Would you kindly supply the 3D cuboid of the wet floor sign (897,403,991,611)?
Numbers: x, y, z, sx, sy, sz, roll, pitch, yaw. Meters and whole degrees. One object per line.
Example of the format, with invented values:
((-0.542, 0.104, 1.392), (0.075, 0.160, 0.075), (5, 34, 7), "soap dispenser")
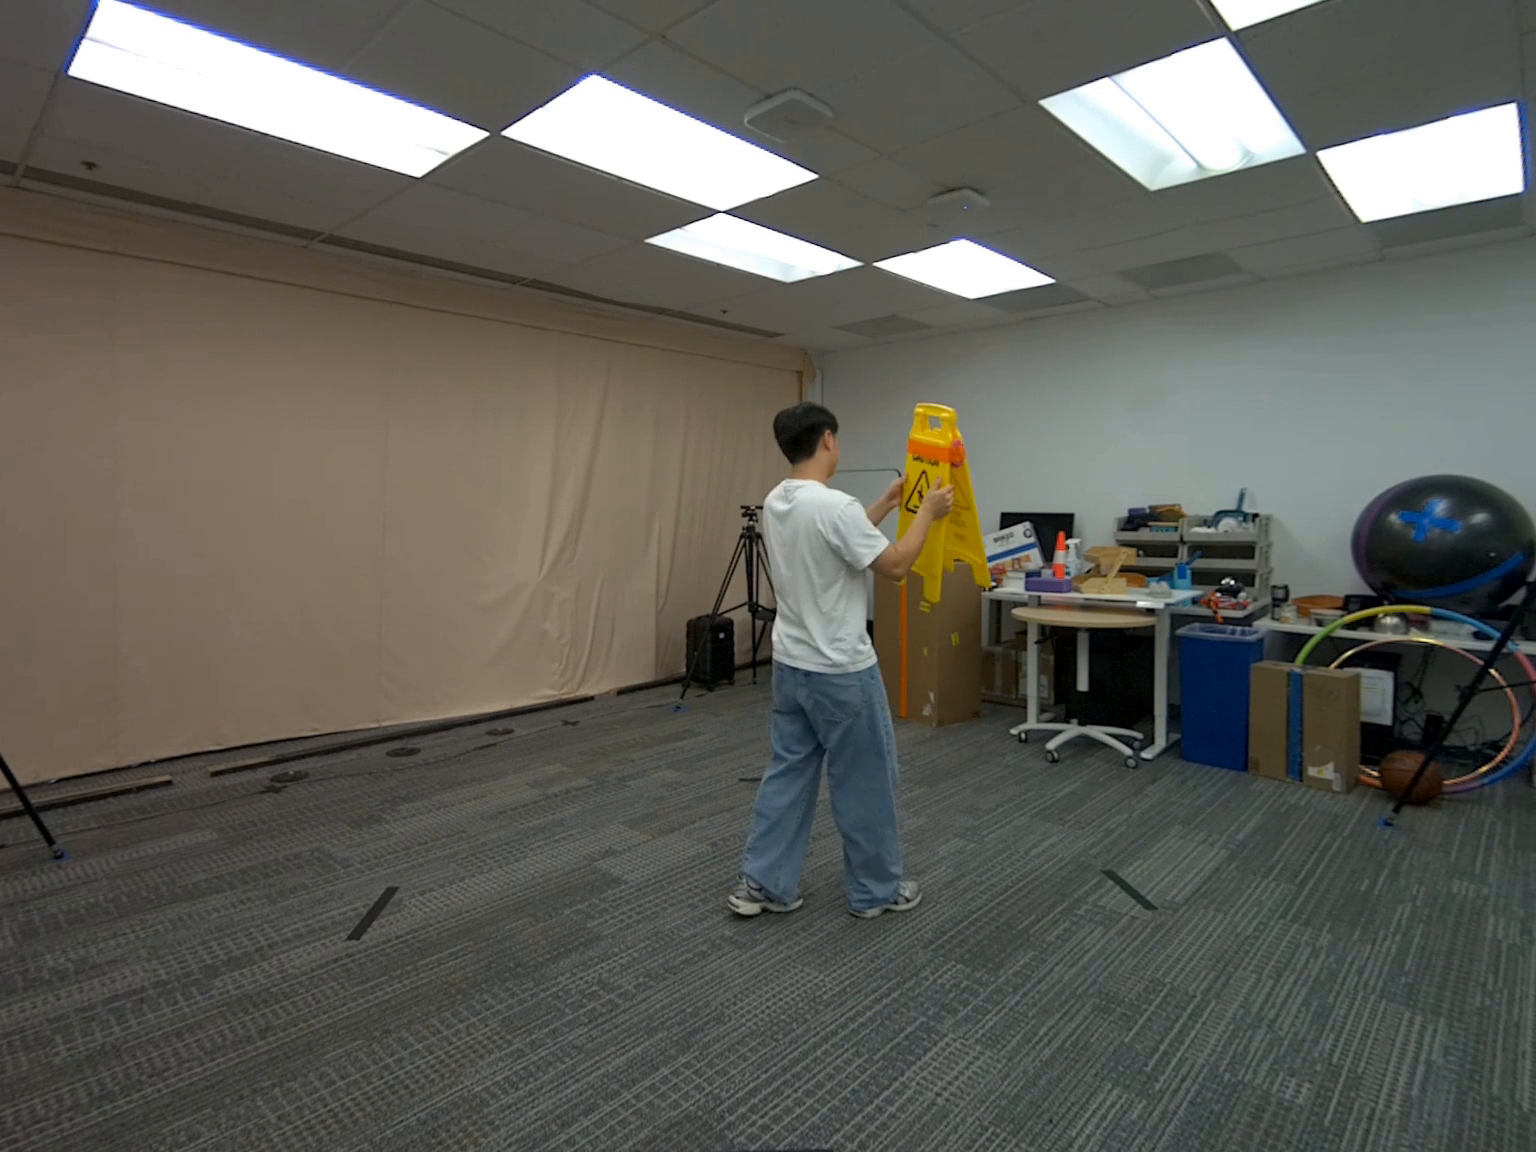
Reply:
((0.600, -0.271, 2.934), (0.284, 0.638, 0.291), (-12, 19, -21), "wet floor sign")
